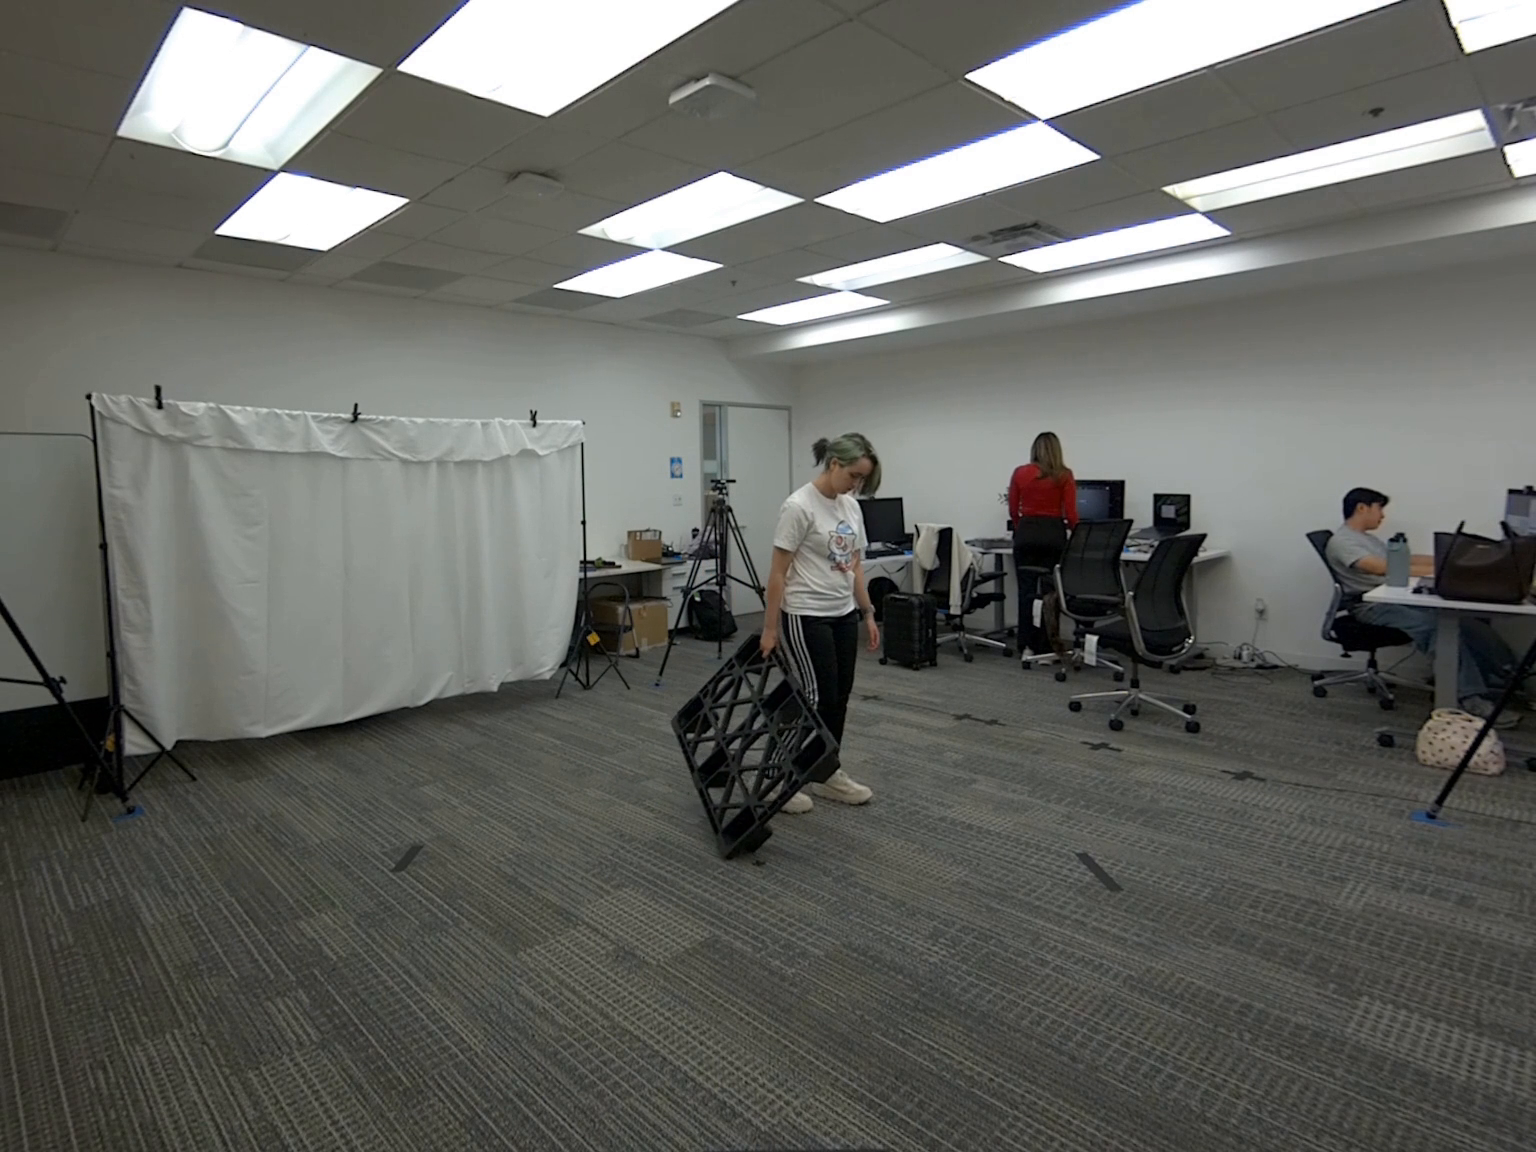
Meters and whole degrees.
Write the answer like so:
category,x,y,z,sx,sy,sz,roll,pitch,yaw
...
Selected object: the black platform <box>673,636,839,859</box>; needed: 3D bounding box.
category,x,y,z,sx,sy,sz,roll,pitch,yaw
black platform,-0.060,0.659,3.448,0.138,0.605,0.834,36,11,-33
